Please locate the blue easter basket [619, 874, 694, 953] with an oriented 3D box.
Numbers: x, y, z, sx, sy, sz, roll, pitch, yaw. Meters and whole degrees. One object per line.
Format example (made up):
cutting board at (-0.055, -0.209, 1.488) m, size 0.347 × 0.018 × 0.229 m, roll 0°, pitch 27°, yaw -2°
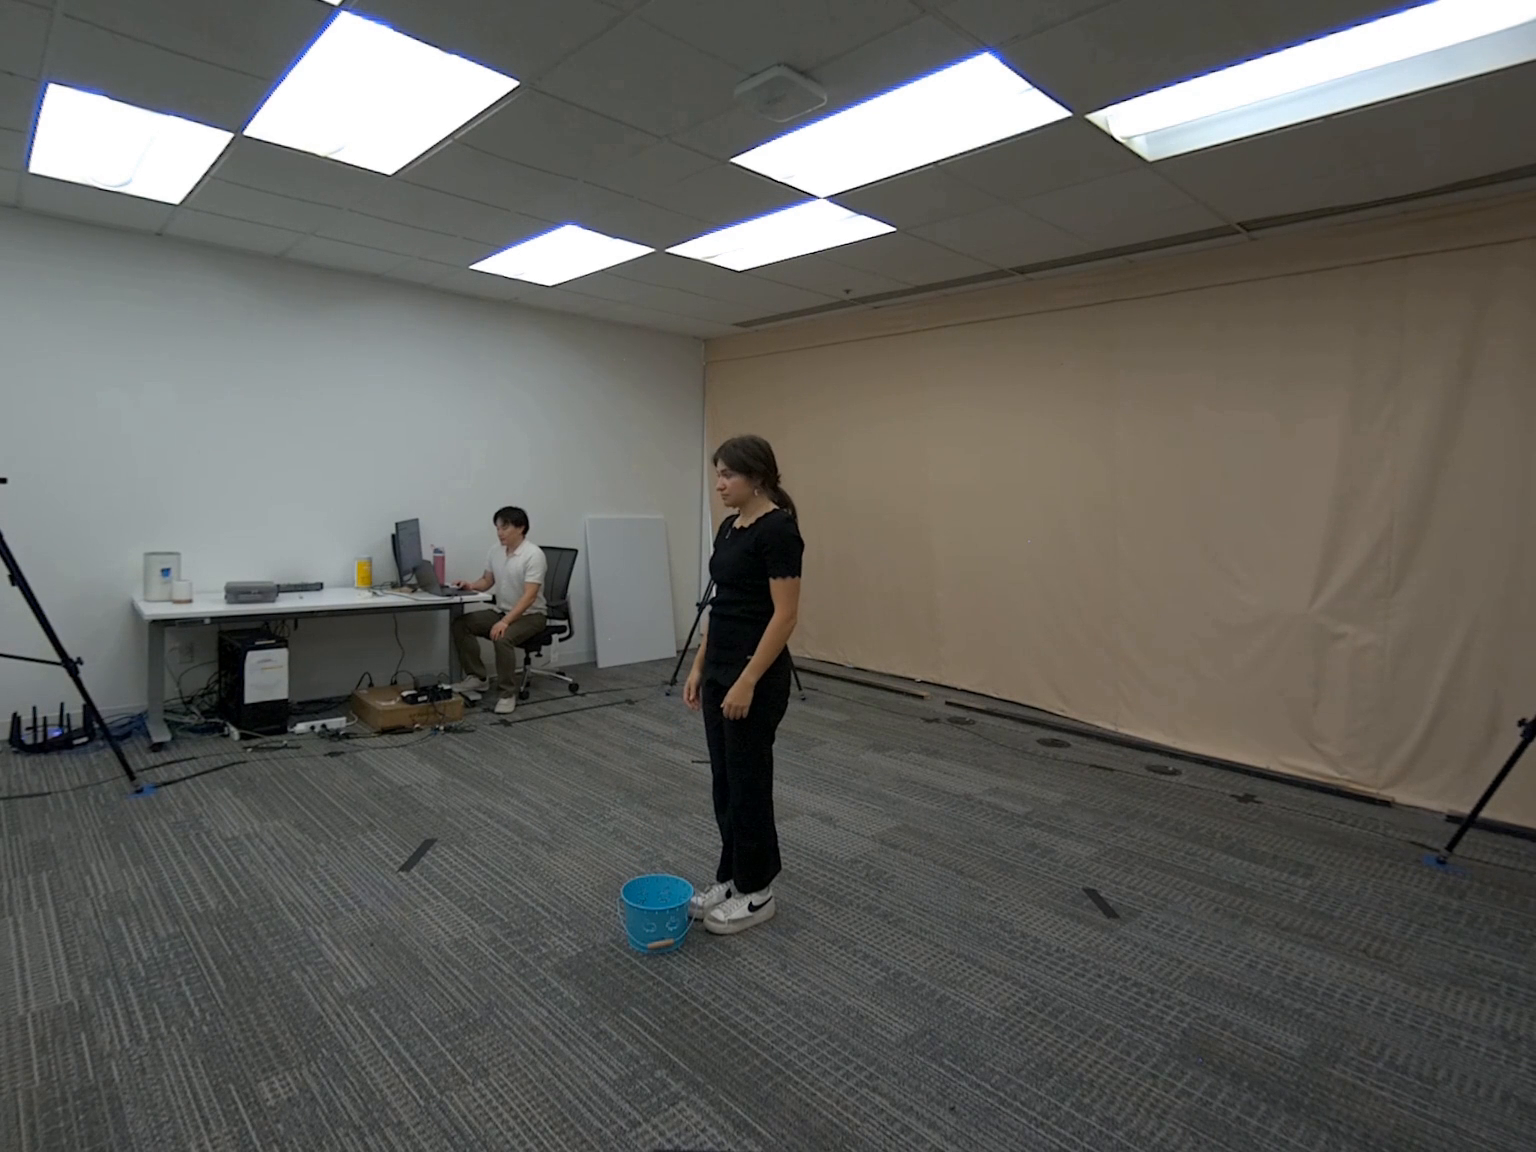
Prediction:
blue easter basket at (-0.362, 1.065, 2.645) m, size 0.243 × 0.155 × 0.244 m, roll 2°, pitch 4°, yaw -1°
